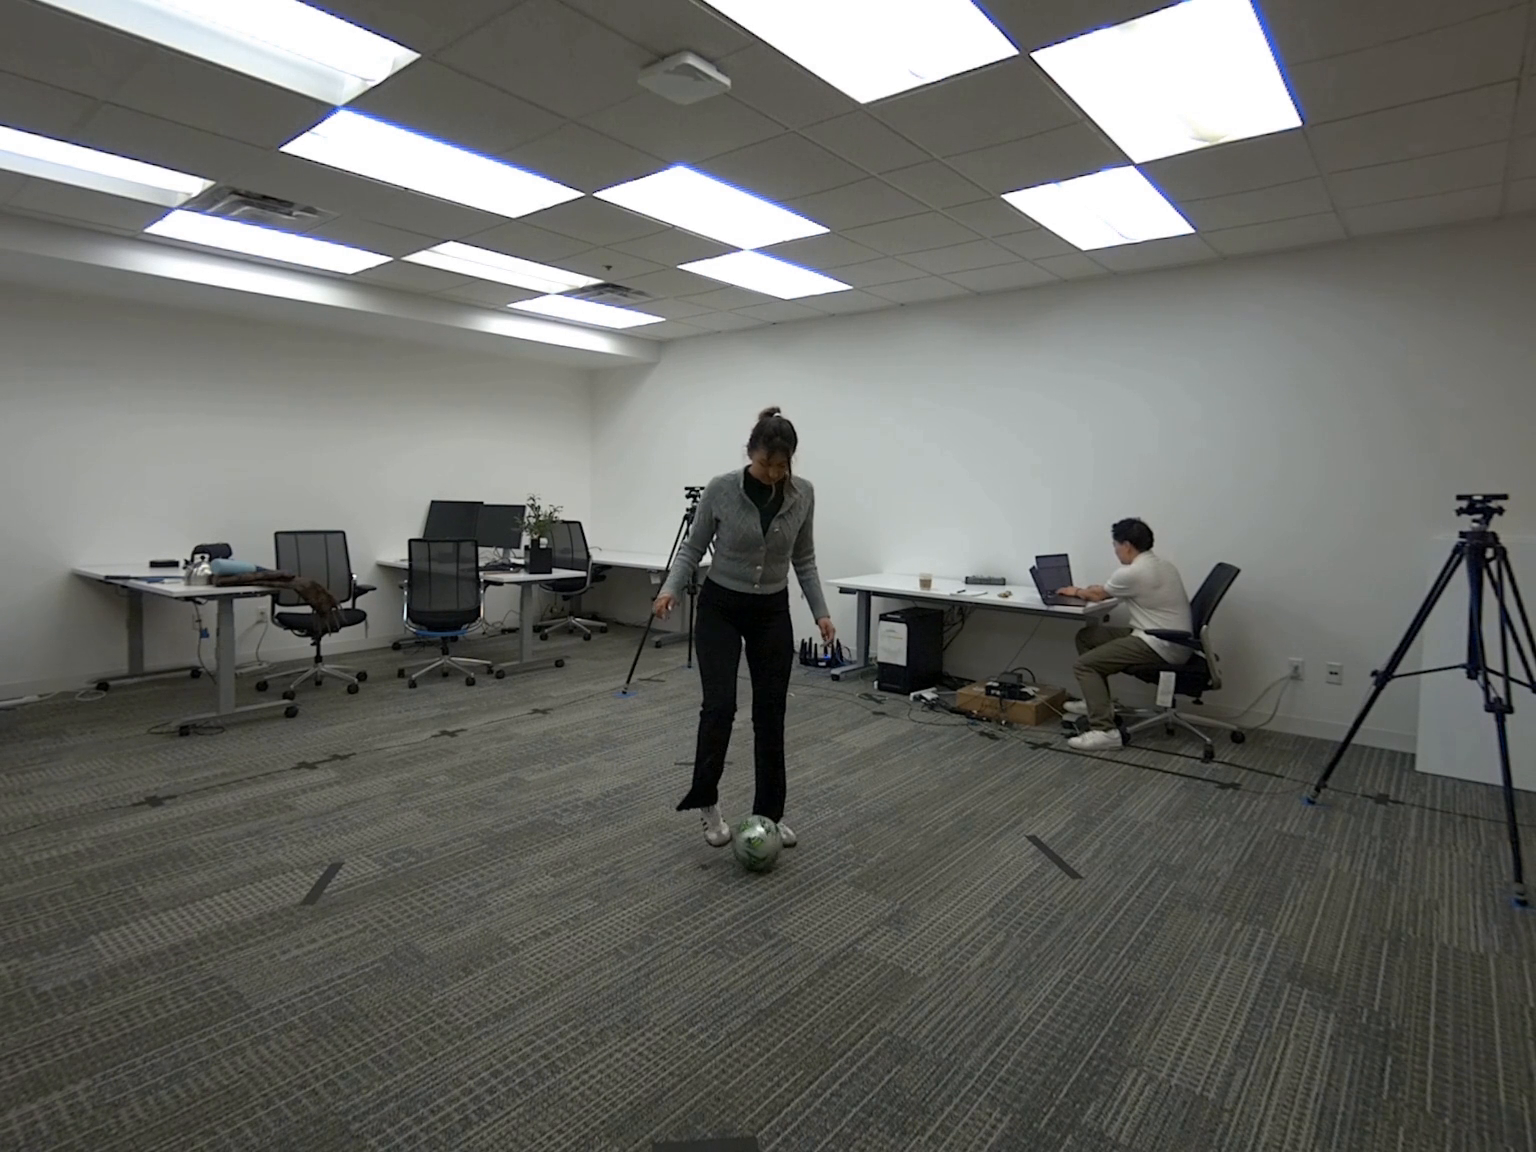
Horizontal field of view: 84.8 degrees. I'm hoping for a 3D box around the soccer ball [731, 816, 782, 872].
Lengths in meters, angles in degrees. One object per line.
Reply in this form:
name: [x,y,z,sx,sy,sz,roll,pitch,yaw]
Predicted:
soccer ball: [-0.031,0.975,3.115,0.187,0.187,0.188,1,4,-2]
